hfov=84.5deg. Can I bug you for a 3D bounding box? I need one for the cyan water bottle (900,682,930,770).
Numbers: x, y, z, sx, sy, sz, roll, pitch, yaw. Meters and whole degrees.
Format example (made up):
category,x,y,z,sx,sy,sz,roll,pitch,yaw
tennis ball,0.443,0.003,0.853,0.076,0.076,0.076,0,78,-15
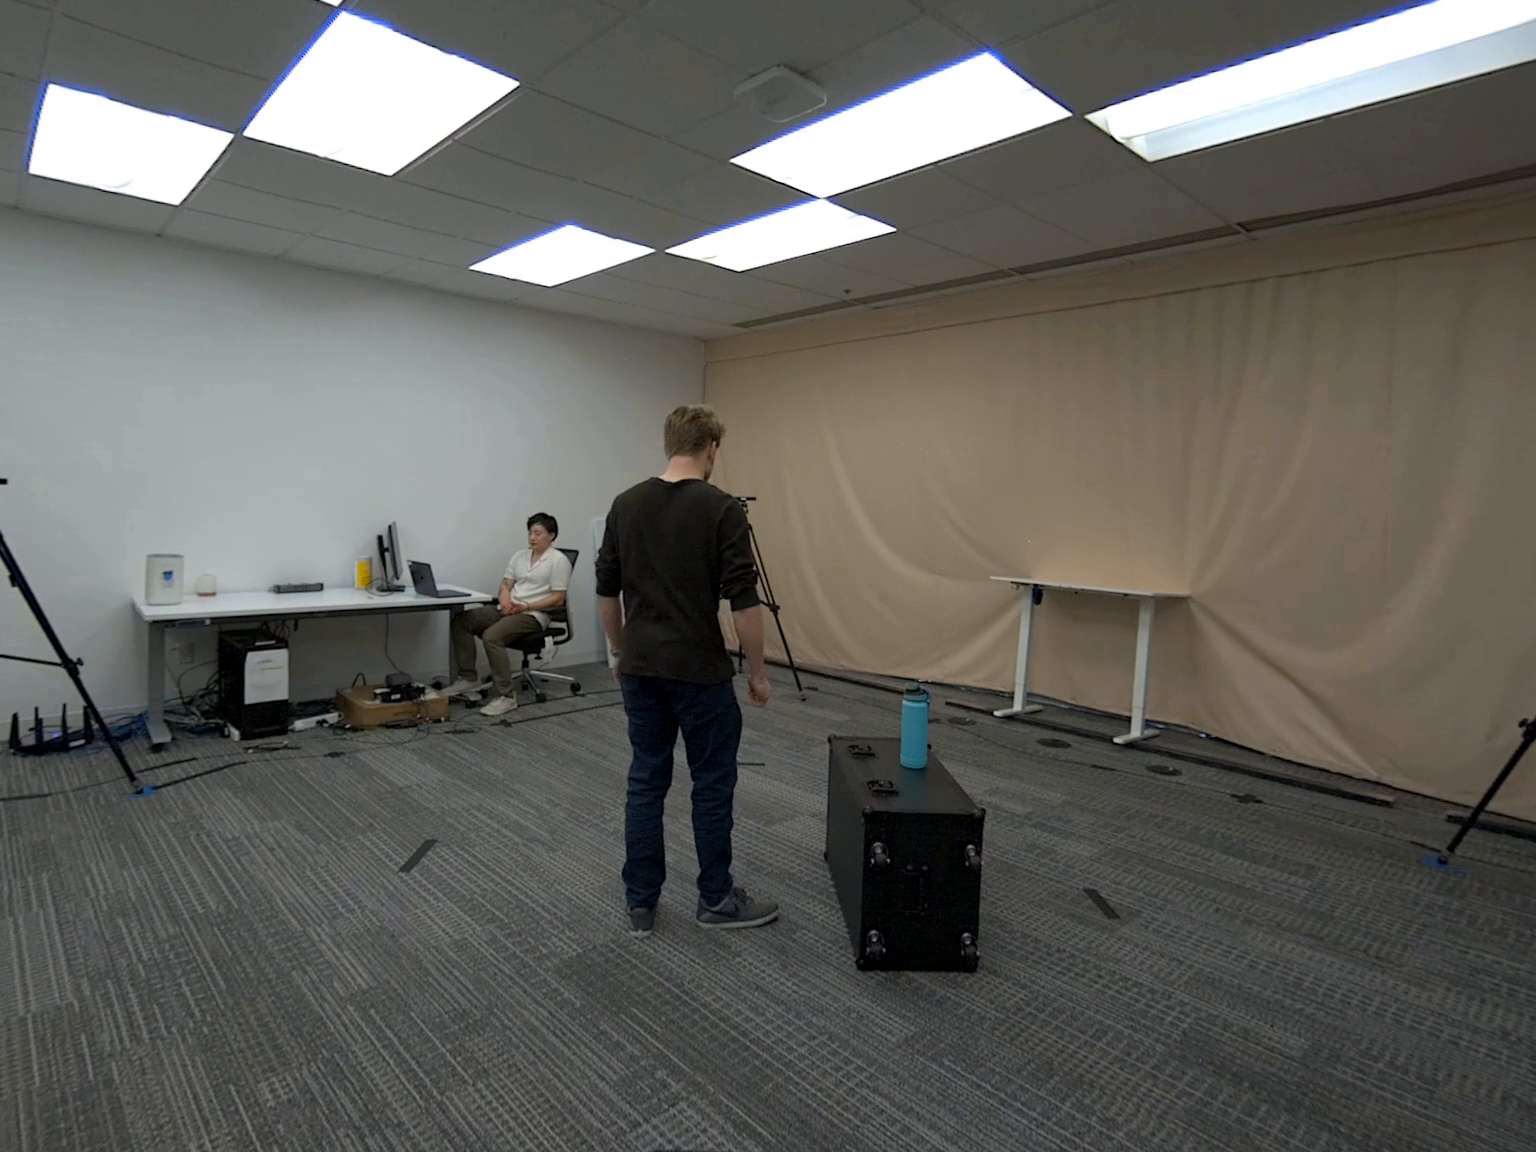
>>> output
category,x,y,z,sx,sy,sz,roll,pitch,yaw
cyan water bottle,0.510,0.517,2.919,0.092,0.283,0.092,5,3,-2
